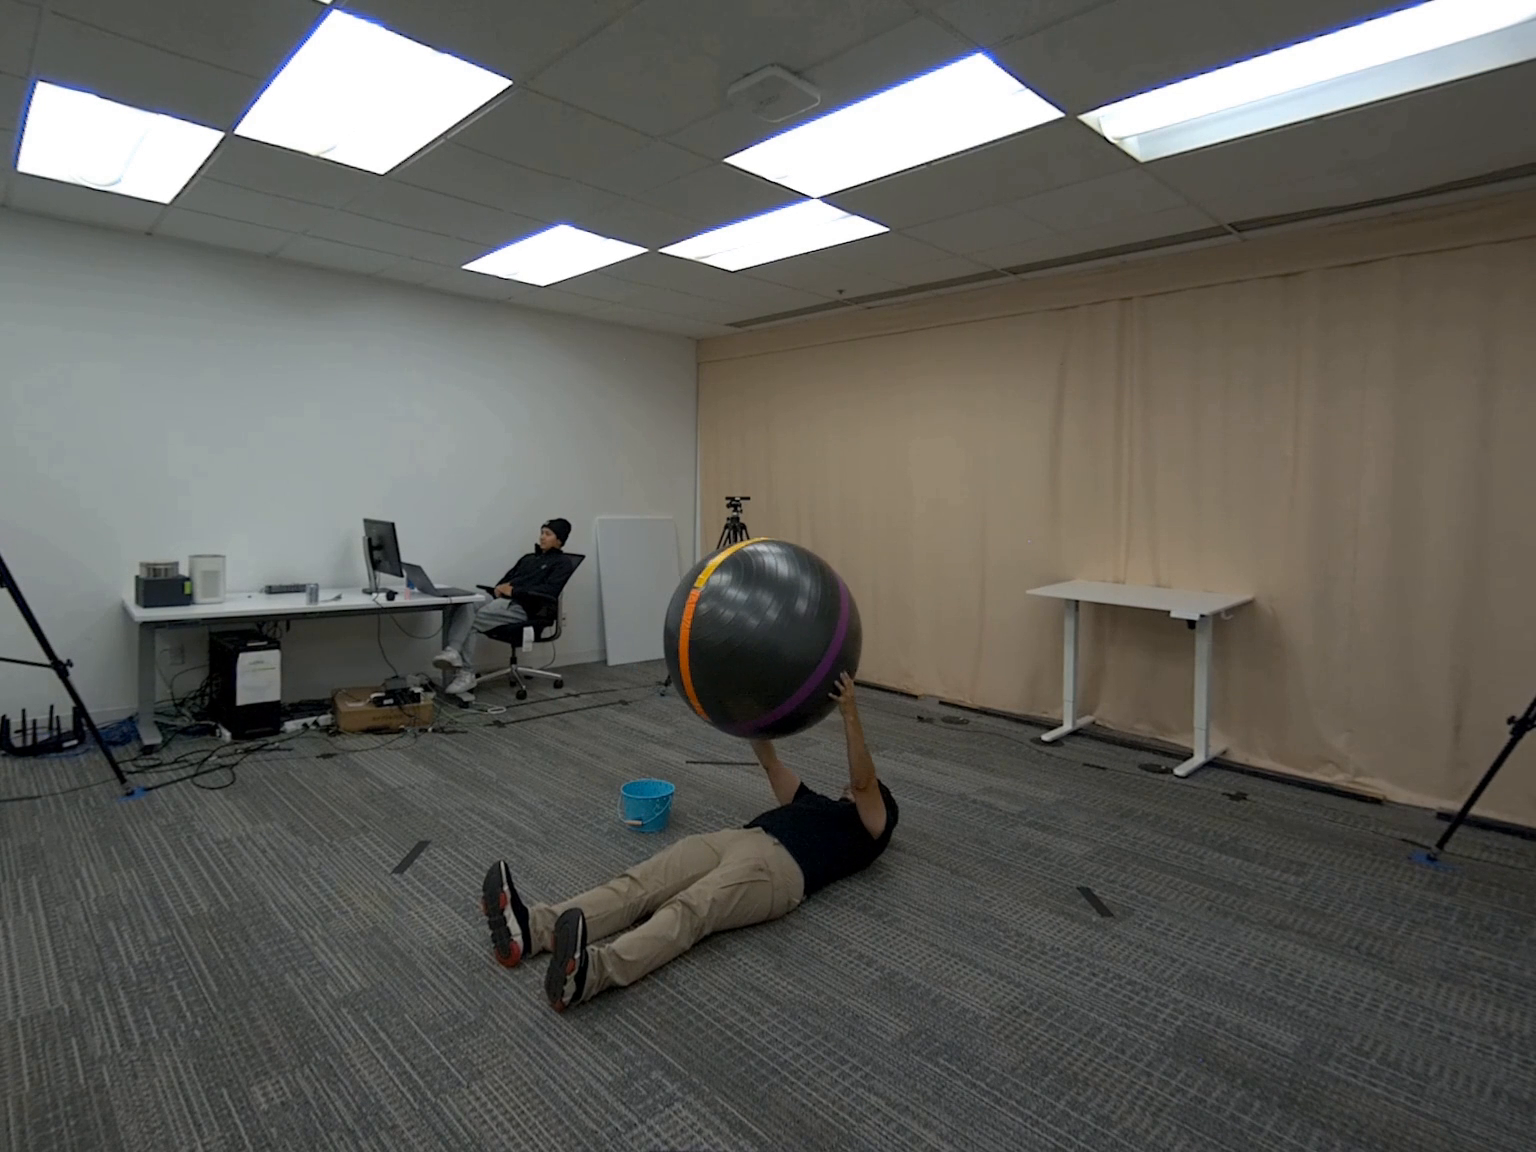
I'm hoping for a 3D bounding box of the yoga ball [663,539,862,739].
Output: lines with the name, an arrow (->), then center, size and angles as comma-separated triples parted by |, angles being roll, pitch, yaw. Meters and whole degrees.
yoga ball -> -0.035, 0.244, 3.221 | 0.757, 0.755, 0.761 | 1, 5, -1
